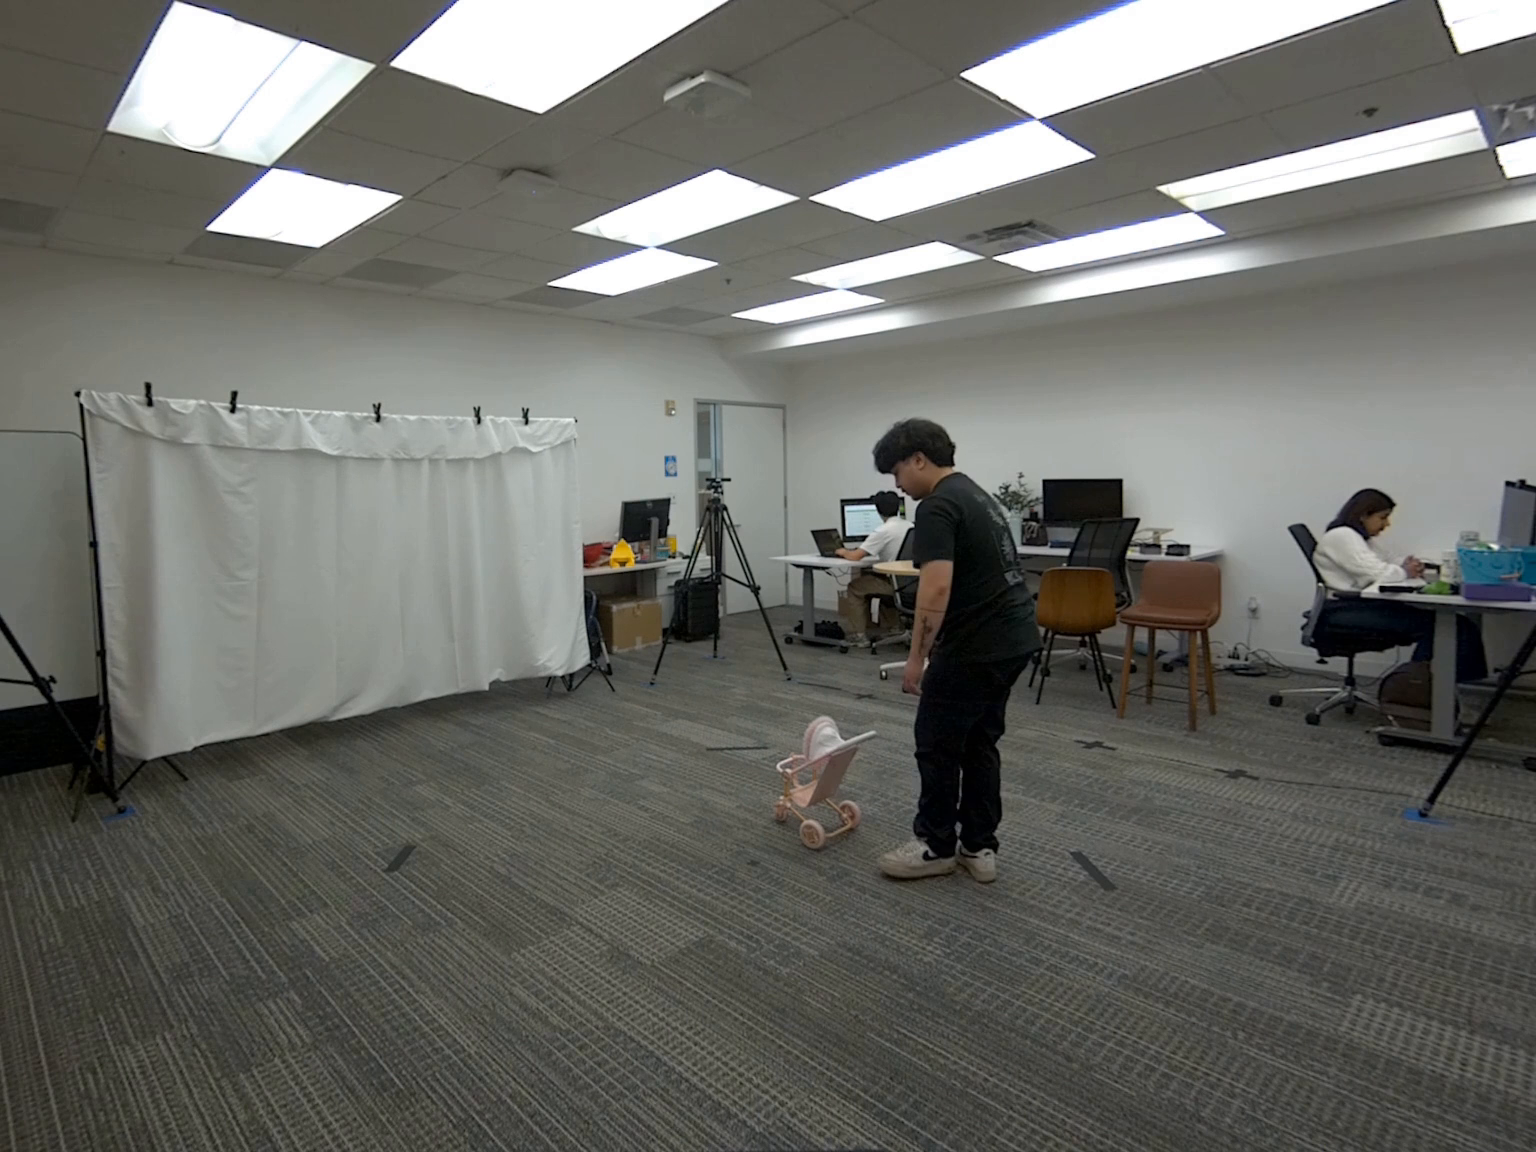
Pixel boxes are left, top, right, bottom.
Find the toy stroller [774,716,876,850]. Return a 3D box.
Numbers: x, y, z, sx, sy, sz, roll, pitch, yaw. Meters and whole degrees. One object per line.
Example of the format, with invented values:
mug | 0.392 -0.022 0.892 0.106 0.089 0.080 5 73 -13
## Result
toy stroller | 0.197 0.784 3.339 0.274 0.529 0.354 -4 21 -45
